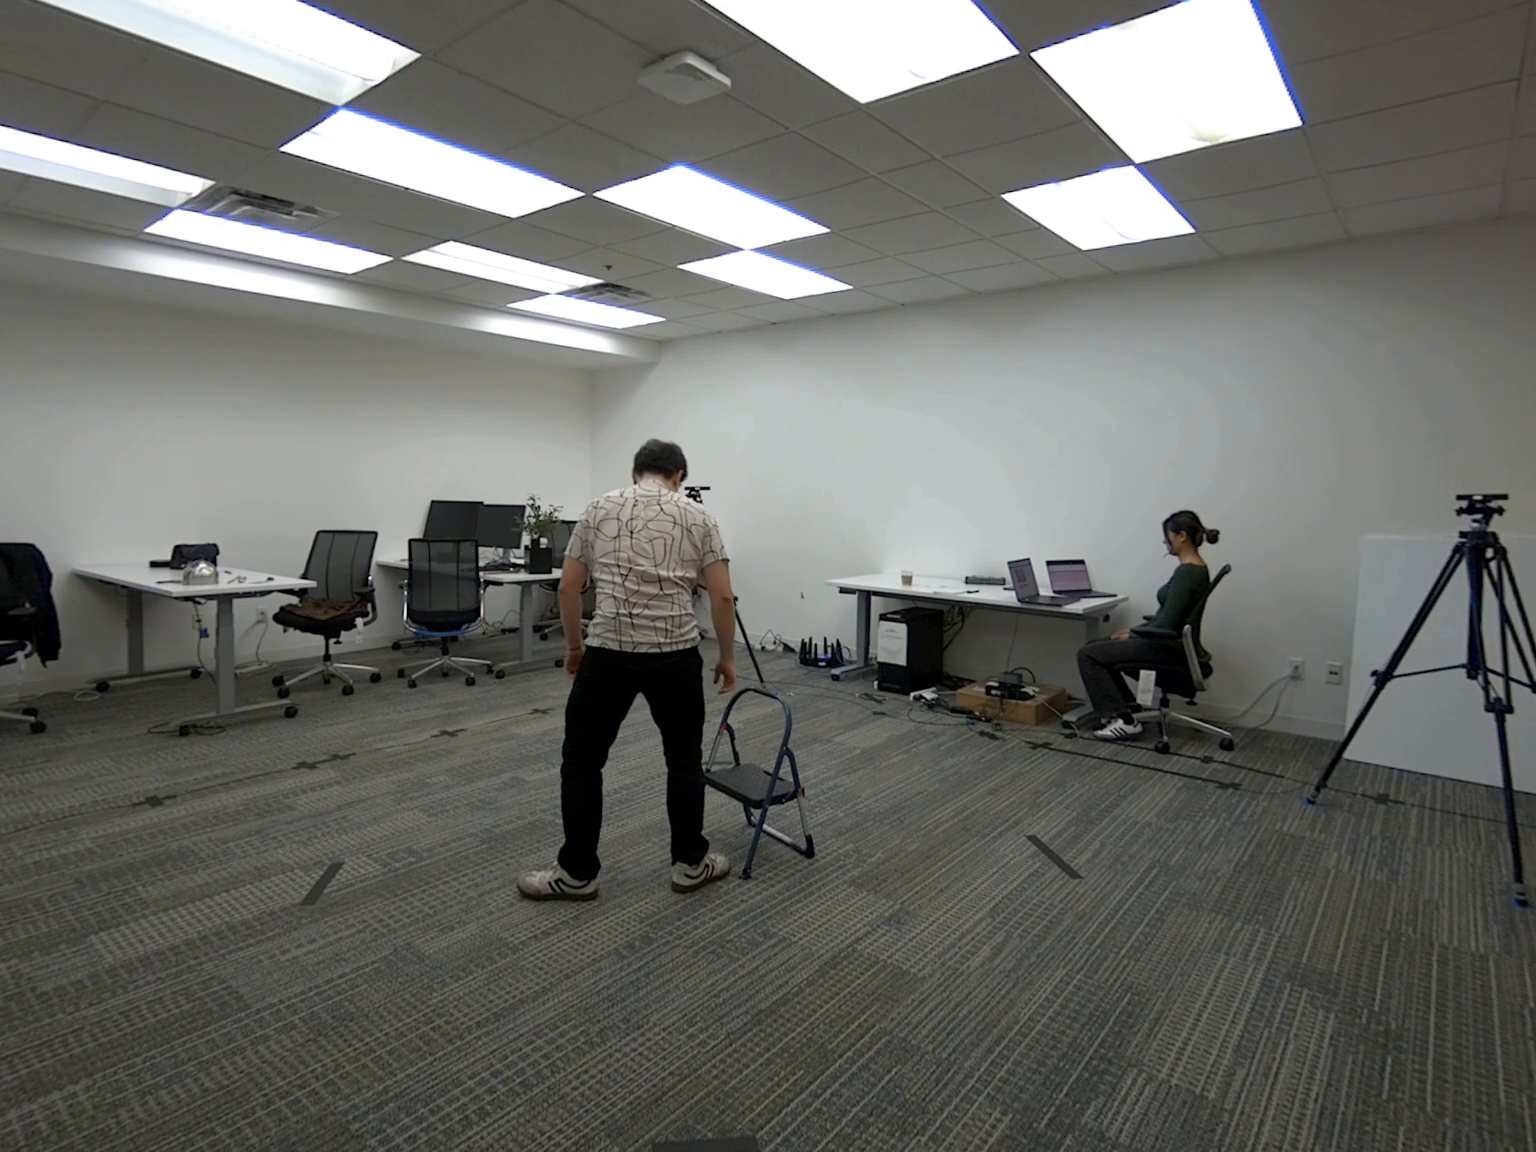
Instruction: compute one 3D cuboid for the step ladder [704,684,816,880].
[{"bbox_3d":[-0.082,0.745,3.270,0.339,0.604,0.445,-1,4,-37],"label":"step ladder"}]
